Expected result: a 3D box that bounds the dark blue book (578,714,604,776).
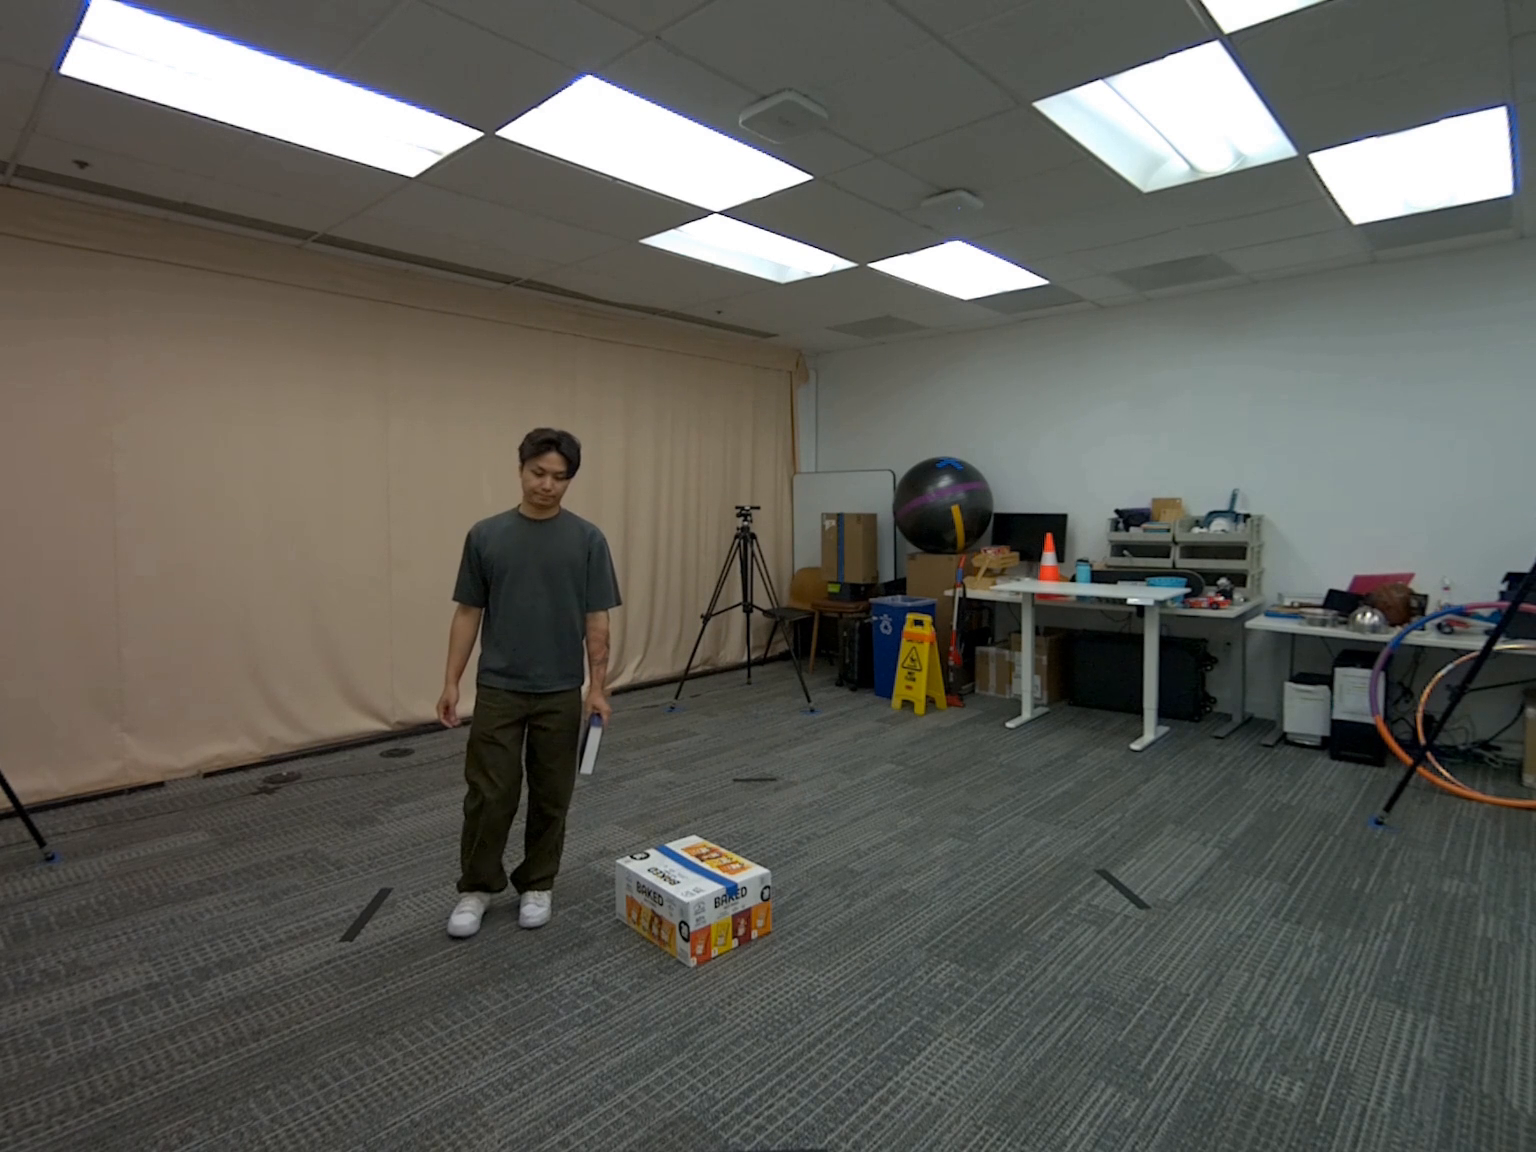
[{"bbox_3d":[-0.588,0.546,2.775,0.044,0.163,0.249,8,1,-15],"label":"dark blue book"}]
